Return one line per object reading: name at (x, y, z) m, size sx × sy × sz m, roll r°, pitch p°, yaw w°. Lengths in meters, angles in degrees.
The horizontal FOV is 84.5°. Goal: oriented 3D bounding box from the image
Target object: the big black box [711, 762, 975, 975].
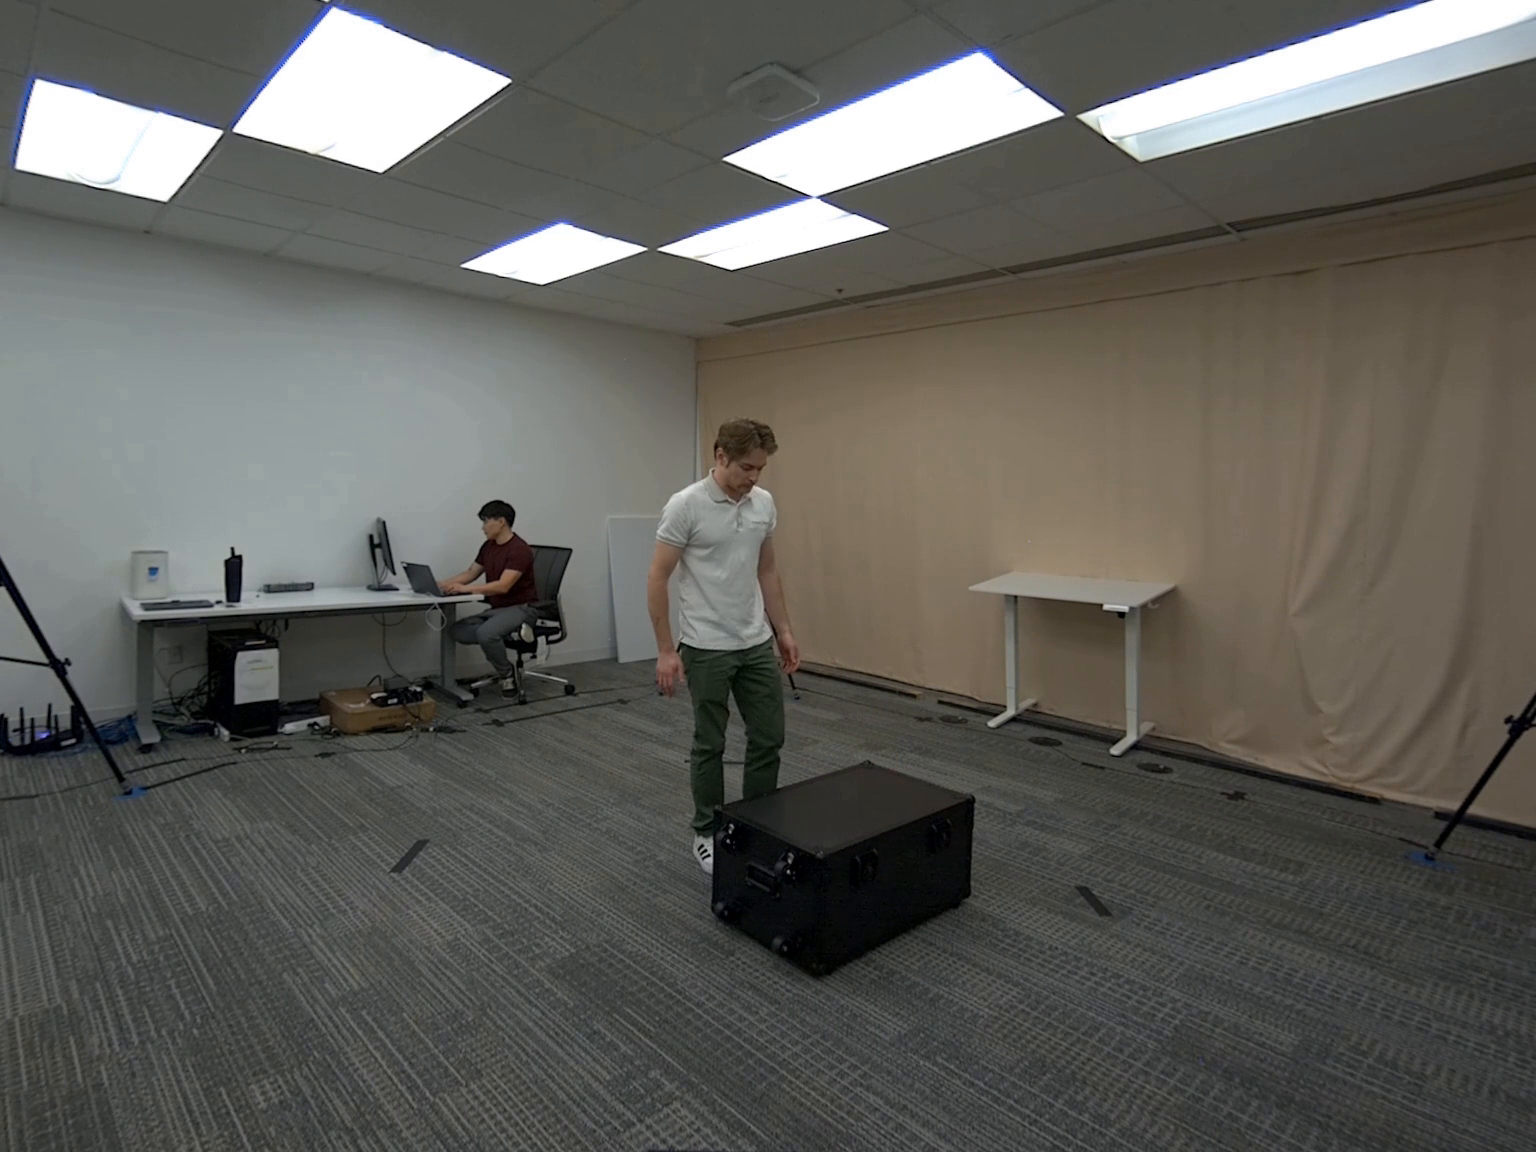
big black box at (0.234, 0.947, 2.822) m, size 0.841 × 0.395 × 0.535 m, roll -2°, pitch 6°, yaw -43°
